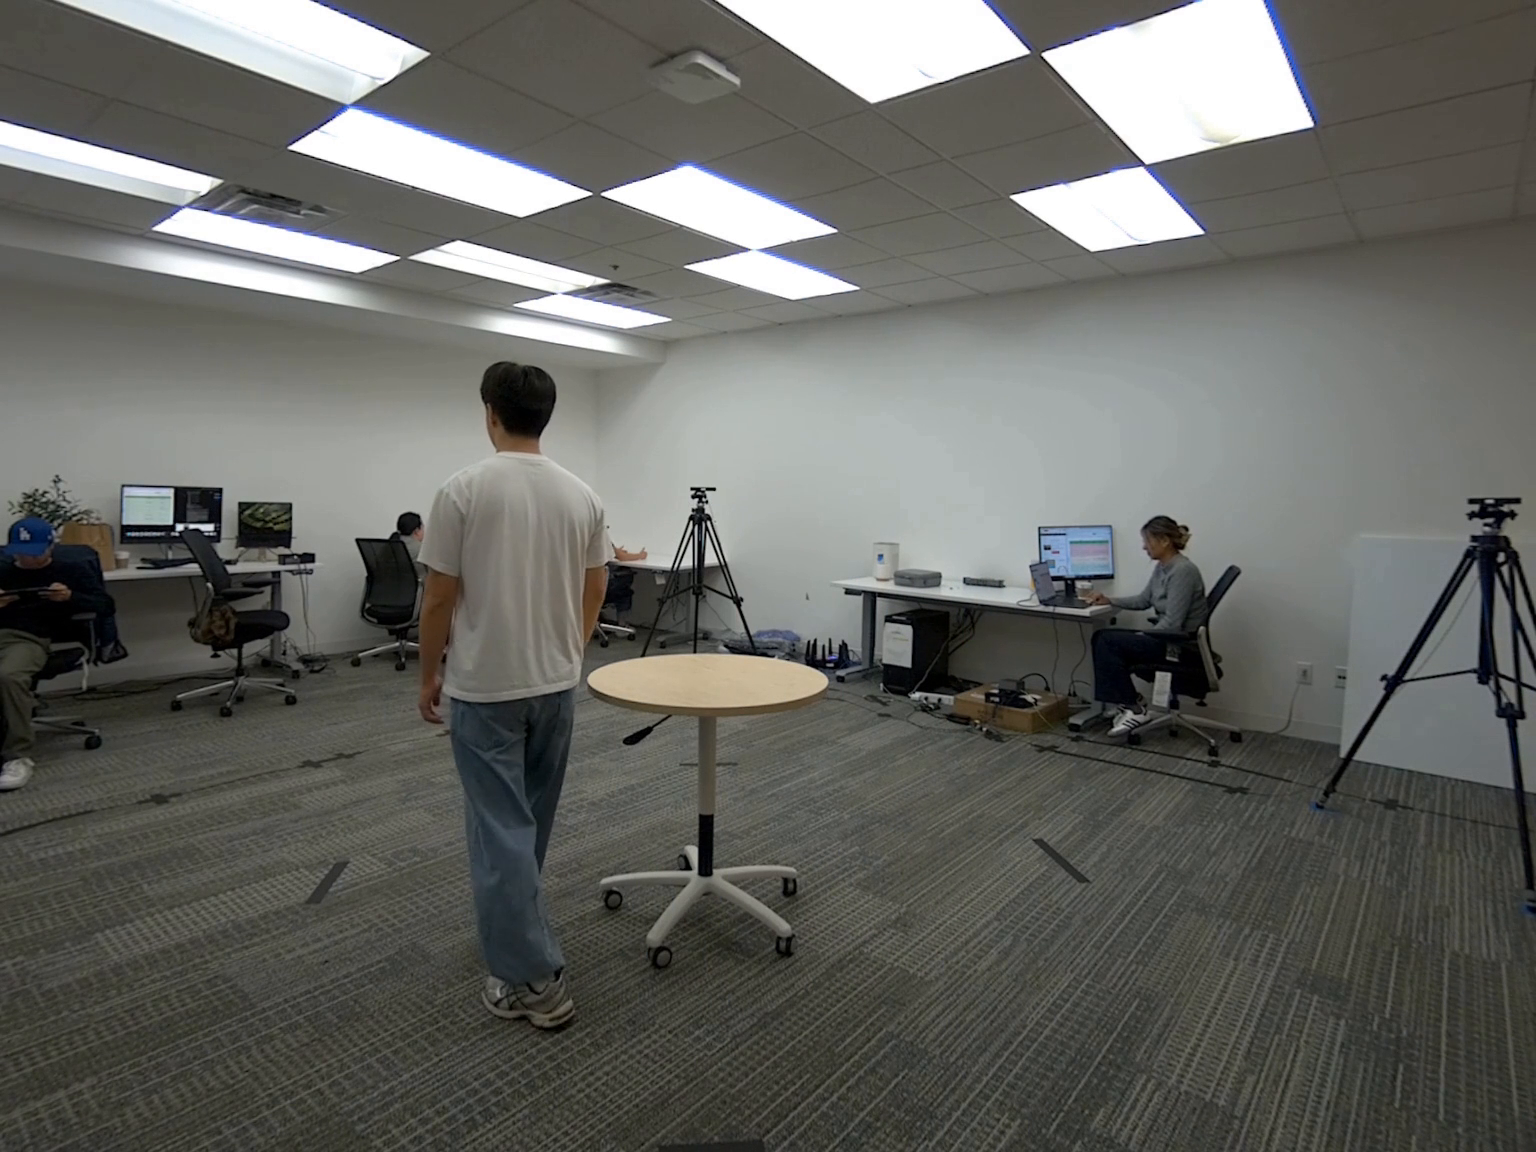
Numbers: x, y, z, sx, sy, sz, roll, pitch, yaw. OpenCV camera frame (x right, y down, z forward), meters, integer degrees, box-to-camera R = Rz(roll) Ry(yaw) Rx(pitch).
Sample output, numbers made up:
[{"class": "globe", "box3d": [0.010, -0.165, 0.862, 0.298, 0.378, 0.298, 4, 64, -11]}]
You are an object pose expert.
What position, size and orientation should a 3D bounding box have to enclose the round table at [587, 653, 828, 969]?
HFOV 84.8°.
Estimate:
[{"class": "round table", "box3d": [-0.209, 0.714, 2.744, 0.763, 0.791, 0.768, 1, 4, -2]}]
